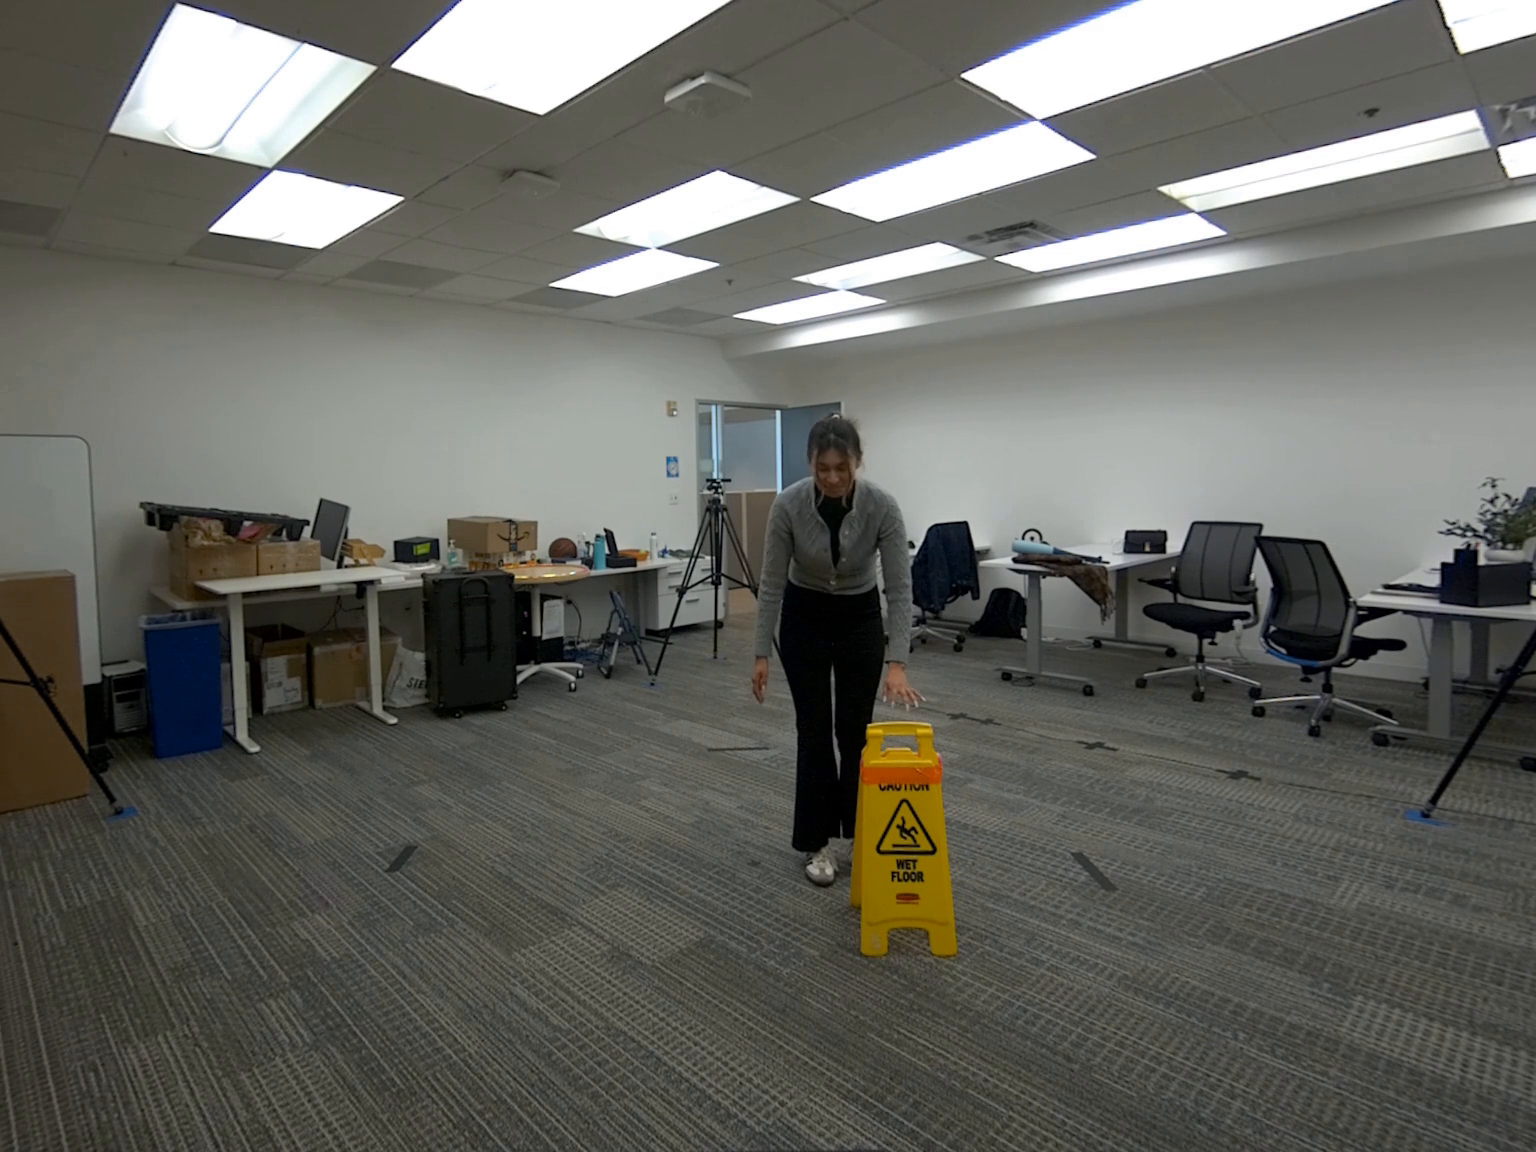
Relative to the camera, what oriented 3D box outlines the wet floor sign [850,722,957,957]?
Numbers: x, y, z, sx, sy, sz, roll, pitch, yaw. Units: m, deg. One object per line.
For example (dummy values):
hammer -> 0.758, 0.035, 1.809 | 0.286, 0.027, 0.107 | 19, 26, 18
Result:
wet floor sign -> 0.400, 0.769, 2.616 | 0.282, 0.644, 0.291 | -3, 4, -1
